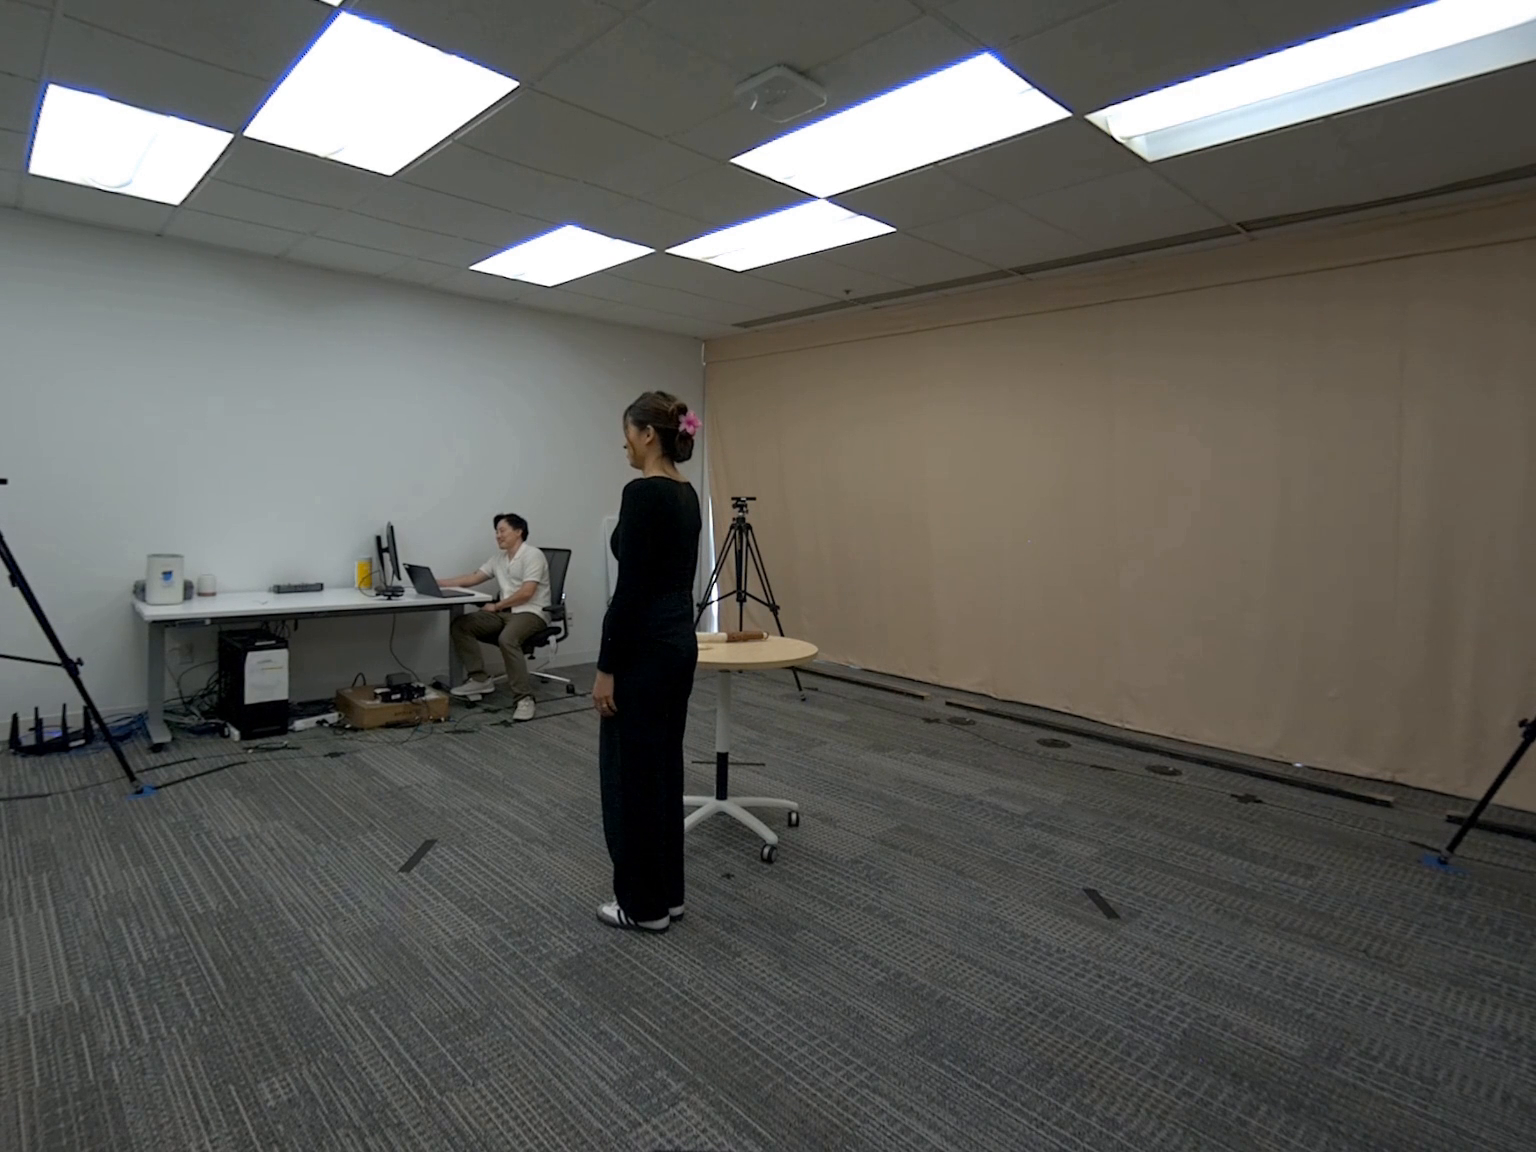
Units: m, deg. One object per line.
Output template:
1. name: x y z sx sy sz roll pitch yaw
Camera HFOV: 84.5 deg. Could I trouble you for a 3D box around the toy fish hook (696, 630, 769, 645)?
1. toy fish hook: -0.216 0.276 3.519 0.498 0.048 0.230 -2 14 -24
